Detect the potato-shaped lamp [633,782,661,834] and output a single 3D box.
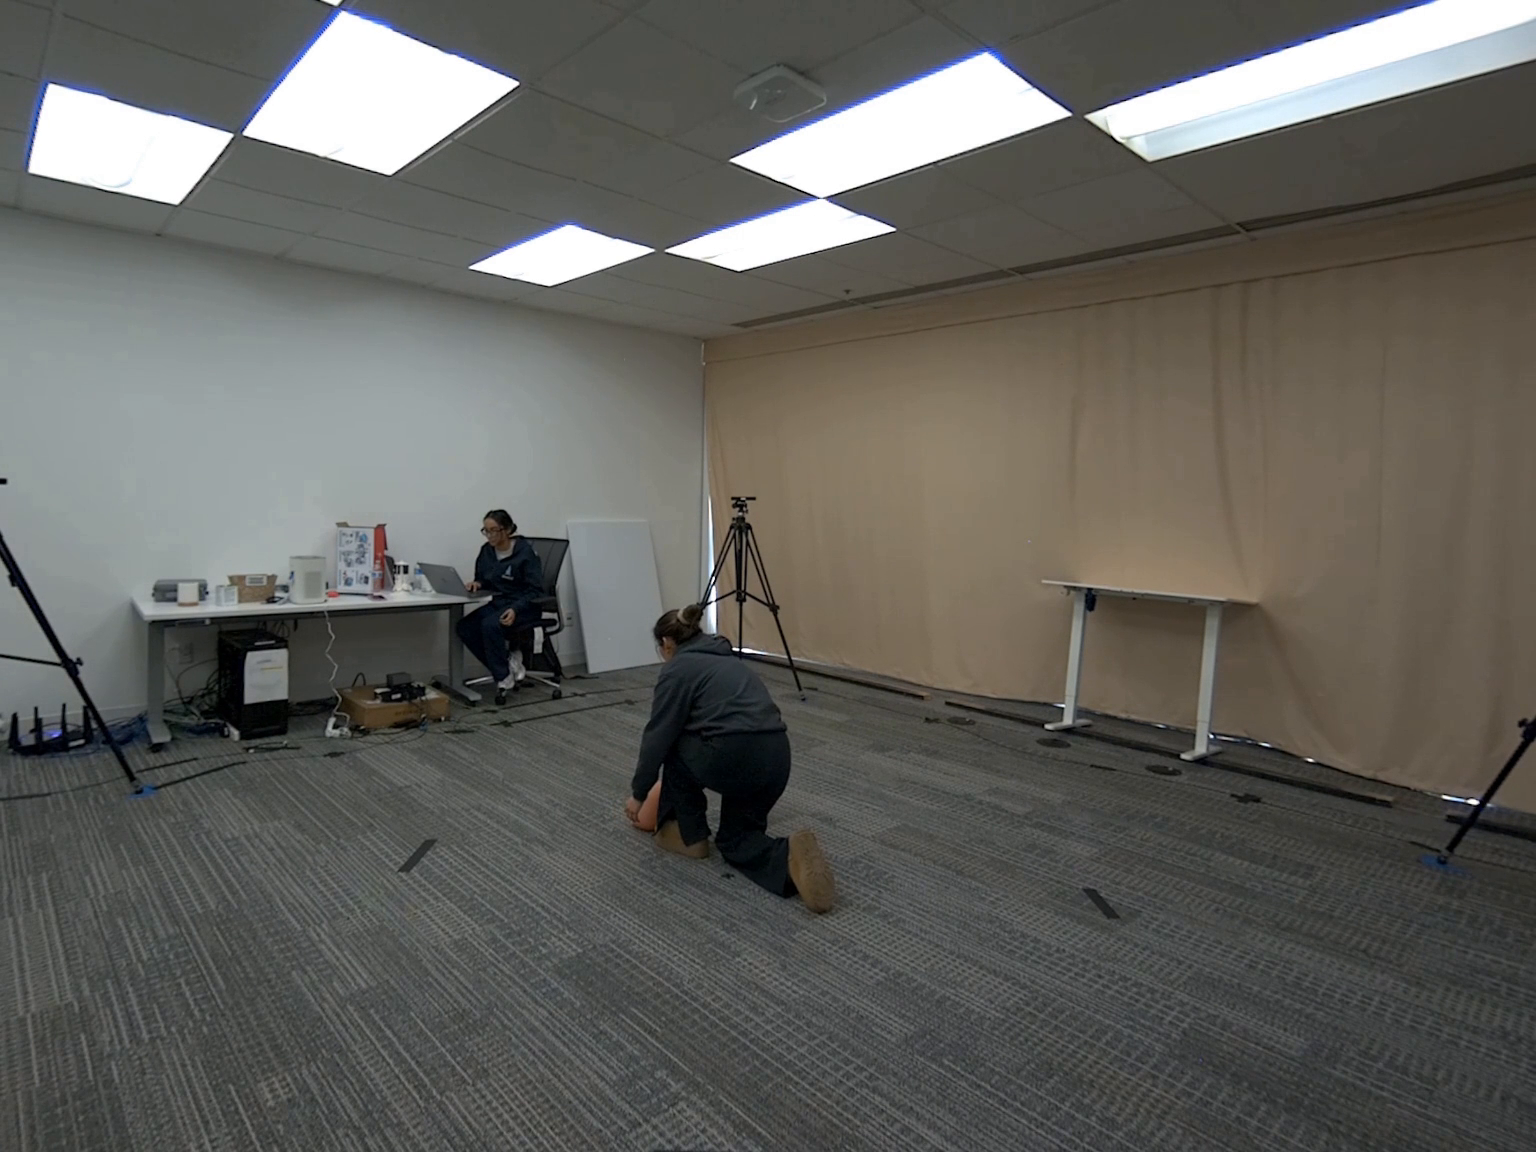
[{"bbox_3d":[-0.497,0.957,3.553,0.175,0.197,0.161,1,6,41],"label":"potato-shaped lamp"}]
